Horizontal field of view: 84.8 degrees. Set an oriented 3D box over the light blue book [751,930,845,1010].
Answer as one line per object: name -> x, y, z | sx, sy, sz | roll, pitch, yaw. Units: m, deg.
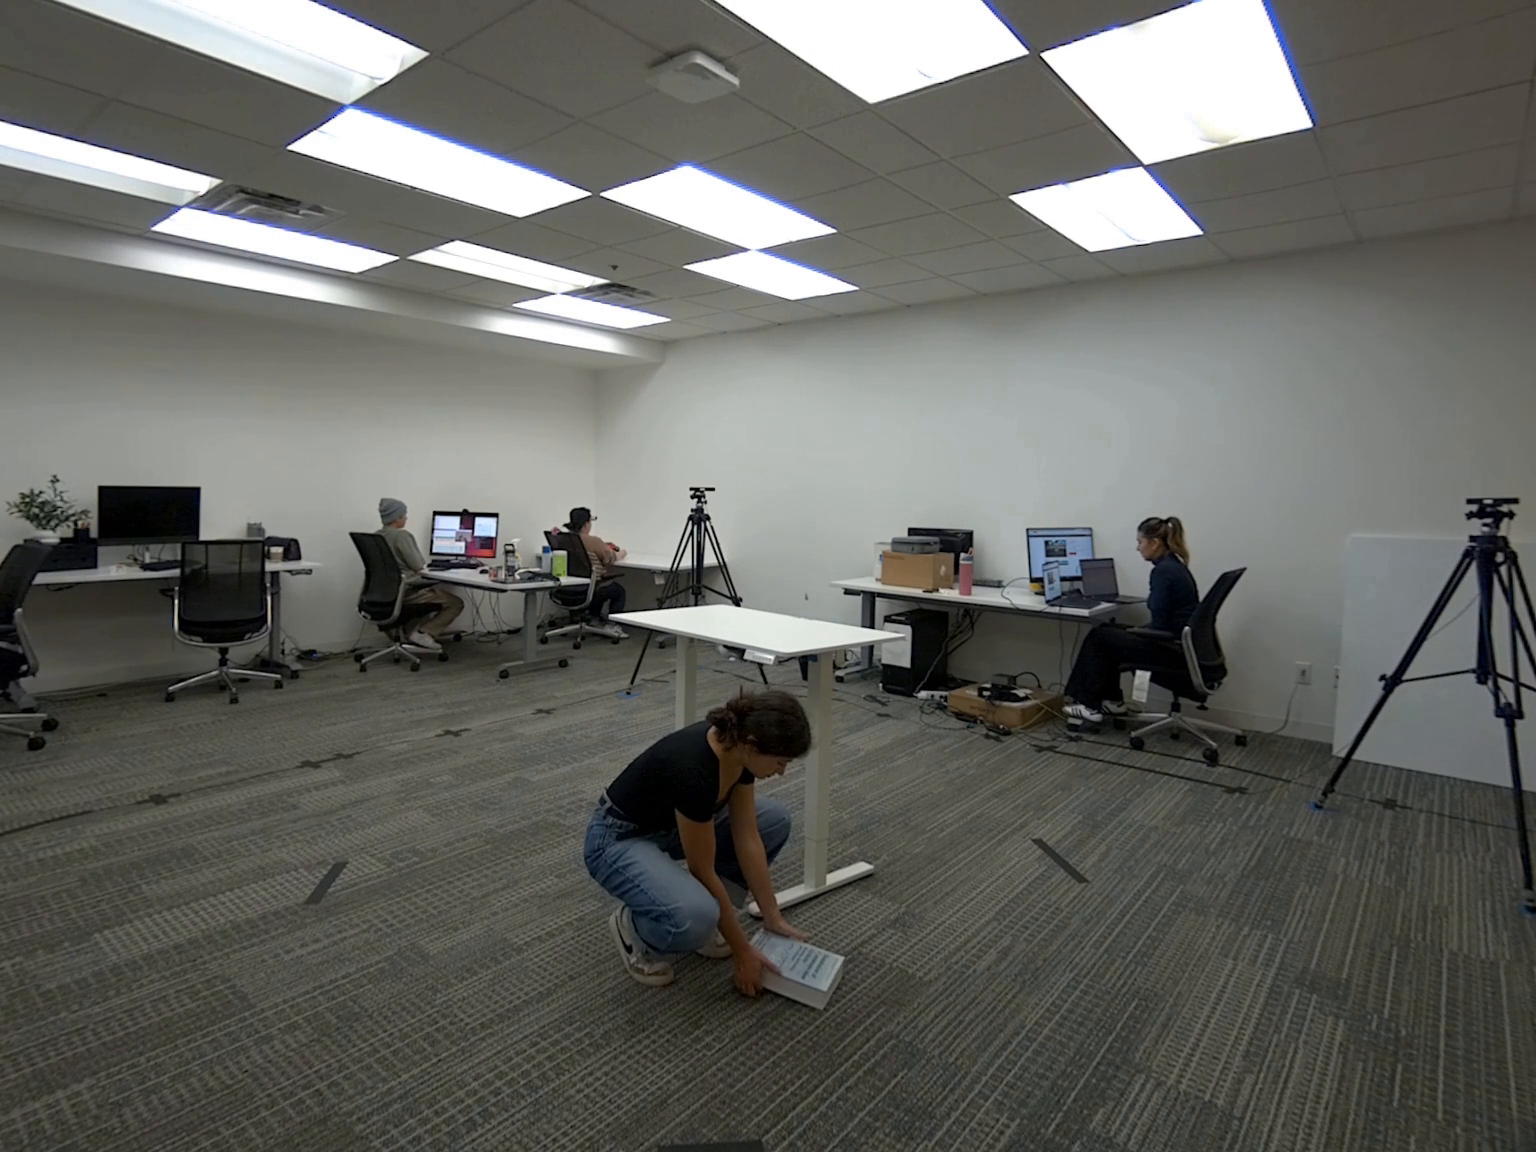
light blue book -> 0.061, 1.111, 2.388 | 0.268, 0.058, 0.188 | 8, 9, 23
